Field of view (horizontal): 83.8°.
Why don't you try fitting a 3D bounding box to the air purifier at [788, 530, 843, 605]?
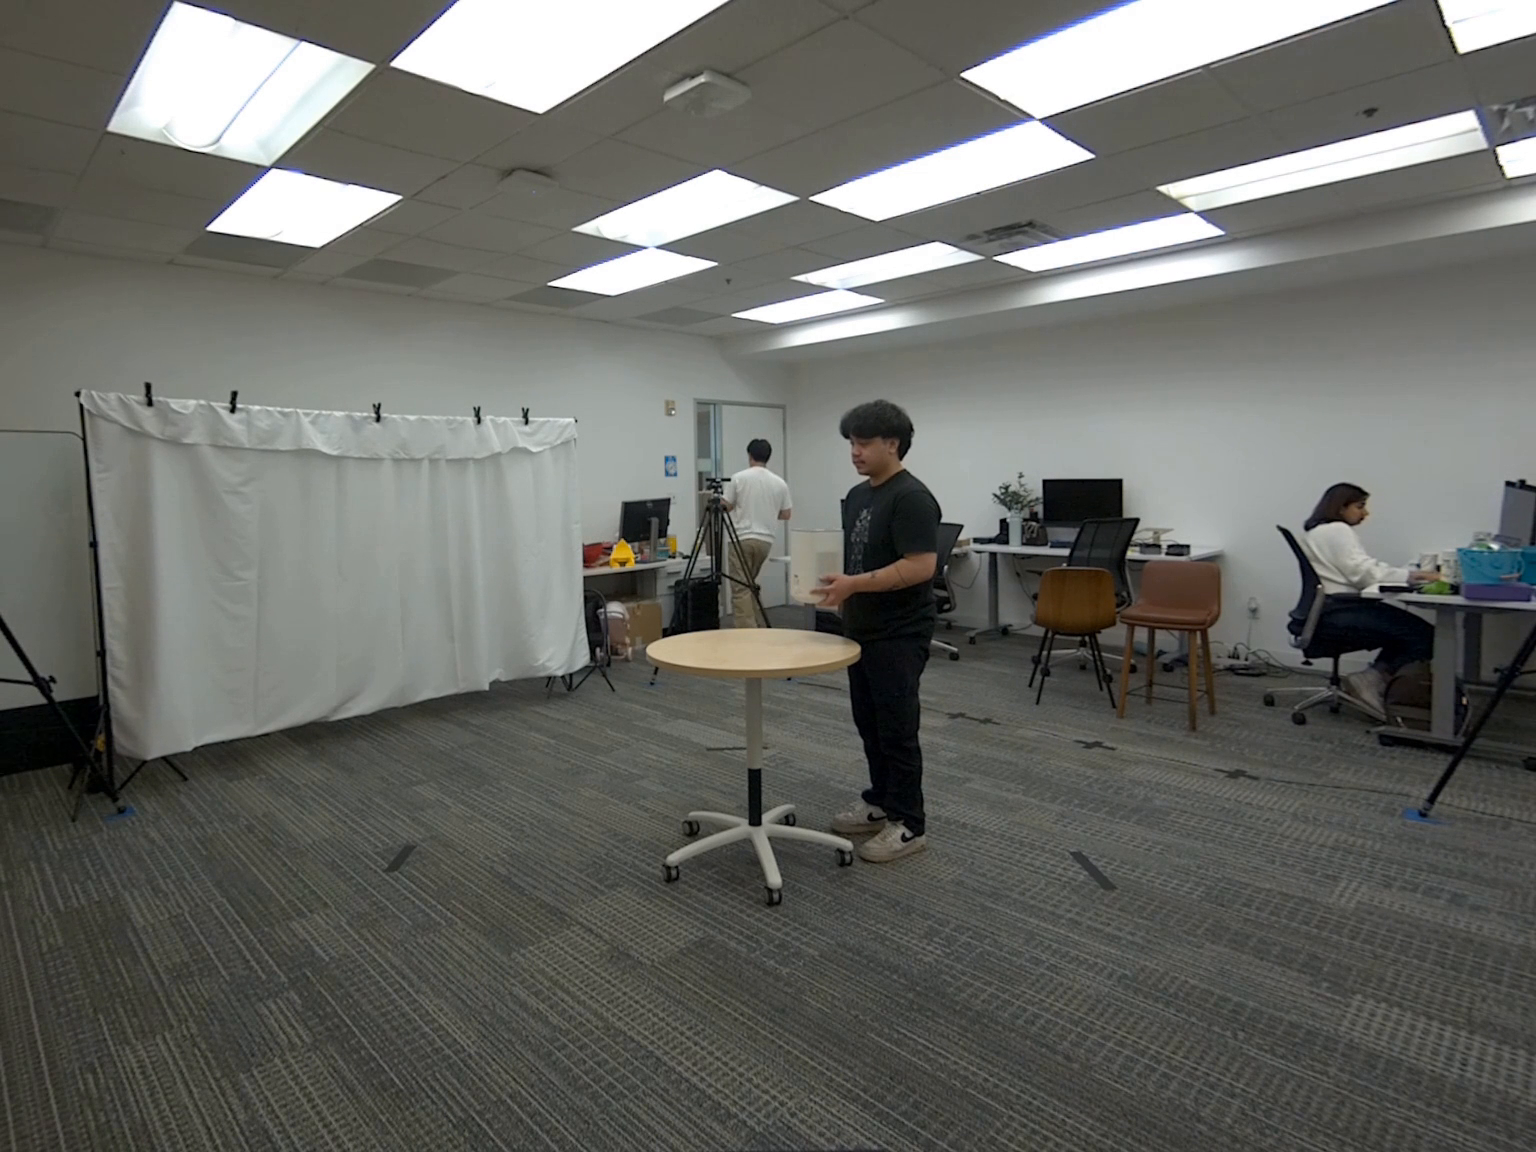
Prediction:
[{"bbox_3d":[0.191,-0.039,3.124,0.168,0.265,0.175,-1,3,-25],"label":"air purifier"}]
